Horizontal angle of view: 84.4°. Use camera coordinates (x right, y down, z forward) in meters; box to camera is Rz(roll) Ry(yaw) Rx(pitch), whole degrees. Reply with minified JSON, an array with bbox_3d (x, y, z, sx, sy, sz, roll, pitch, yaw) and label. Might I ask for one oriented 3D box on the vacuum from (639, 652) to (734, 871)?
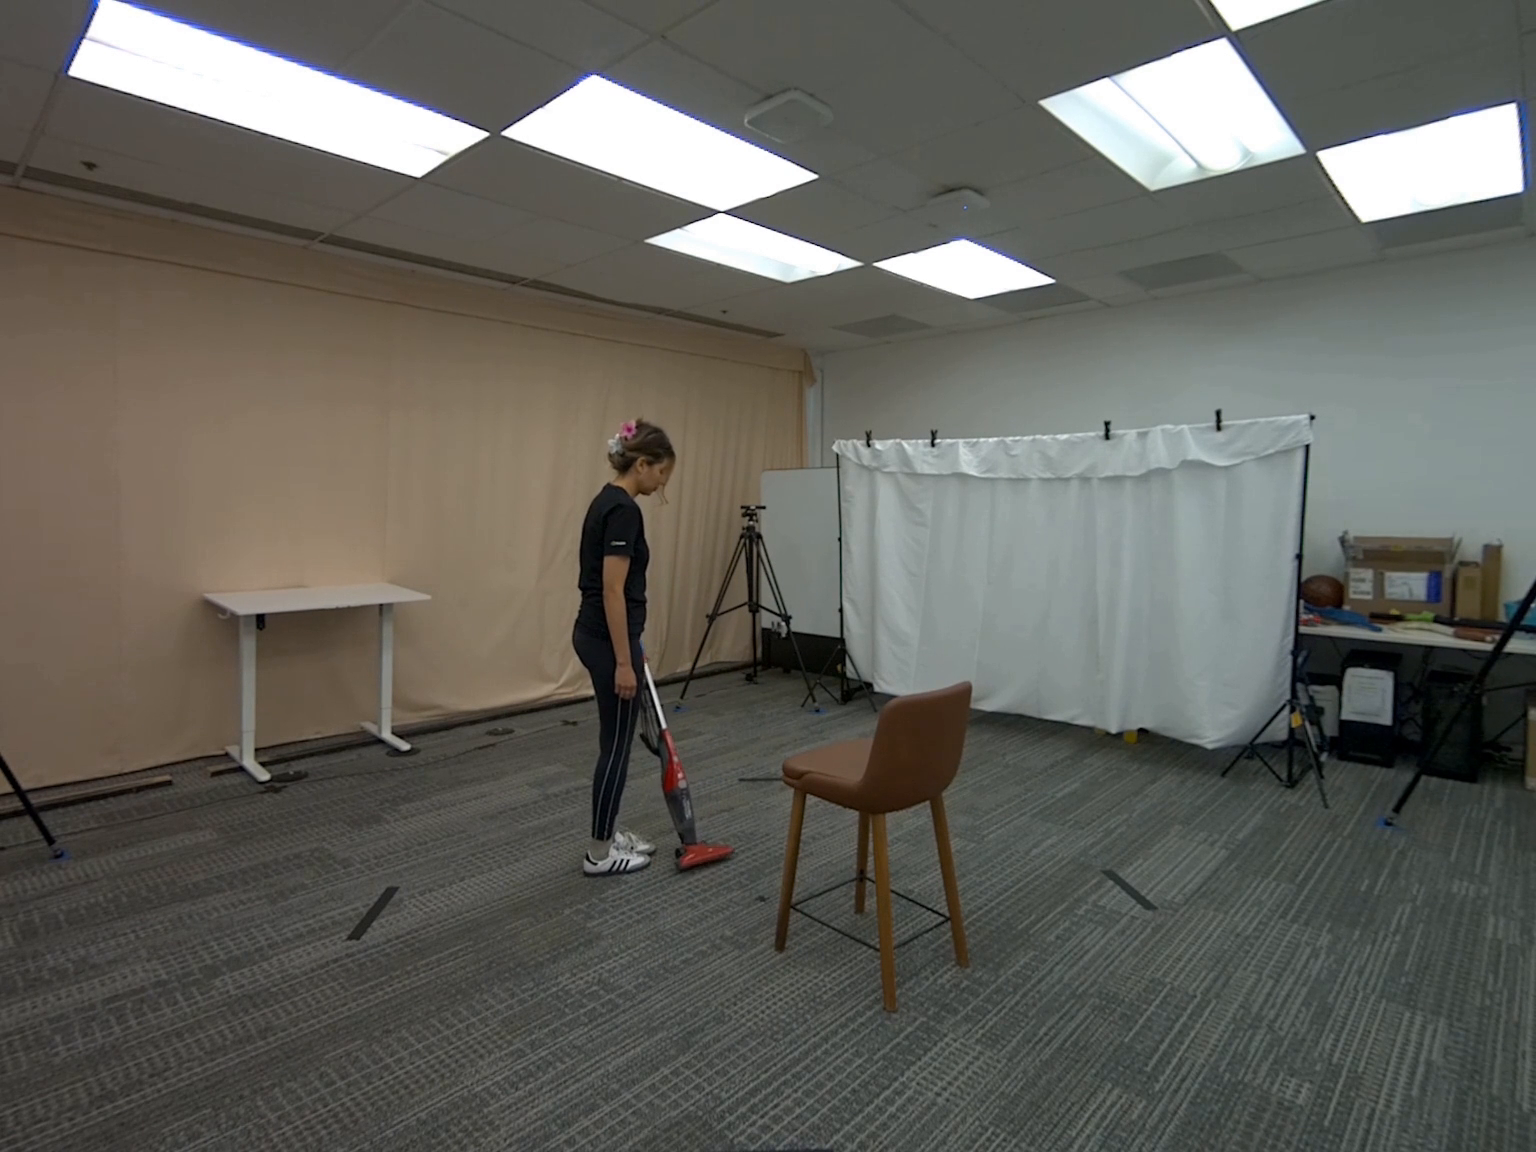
[{"bbox_3d":[-0.440,0.651,3.513,0.245,1.072,0.145,-2,-31,-41],"label":"vacuum"}]
